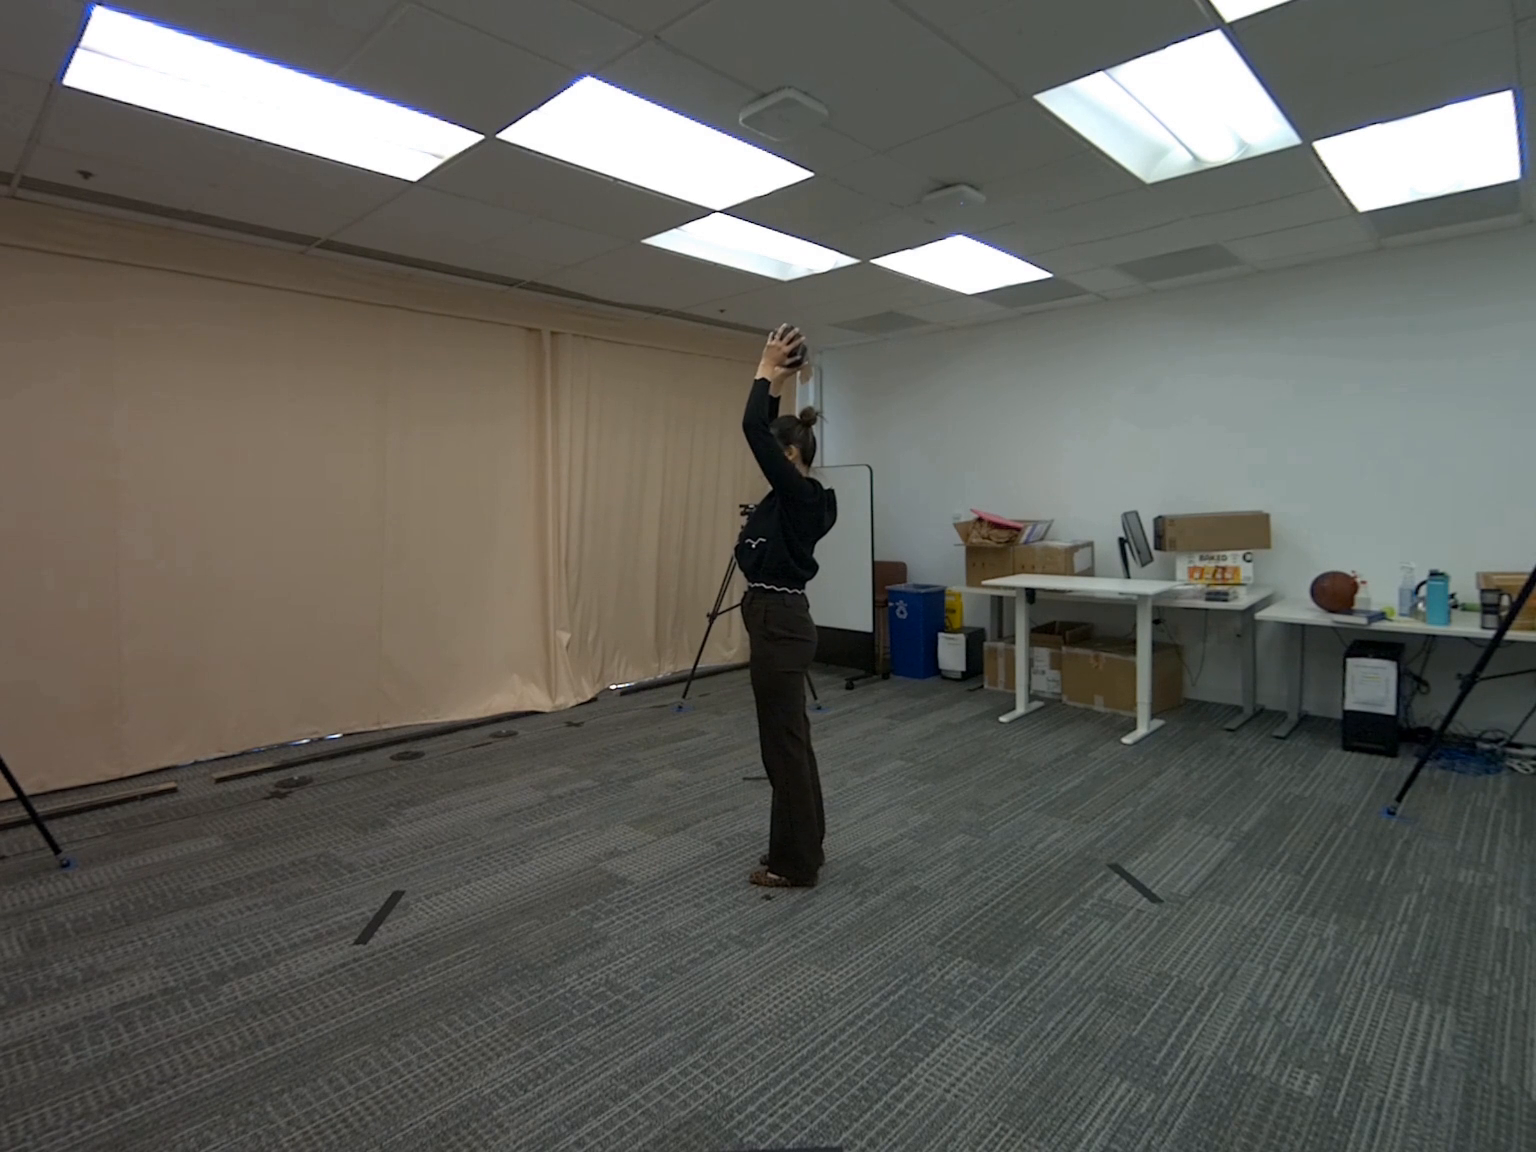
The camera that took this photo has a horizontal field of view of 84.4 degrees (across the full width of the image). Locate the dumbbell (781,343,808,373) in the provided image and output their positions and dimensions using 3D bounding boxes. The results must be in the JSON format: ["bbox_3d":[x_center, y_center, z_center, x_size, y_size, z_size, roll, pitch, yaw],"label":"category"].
[{"bbox_3d":[0.077,-0.840,3.114,0.124,0.108,0.292,-12,3,7],"label":"dumbbell"}]
